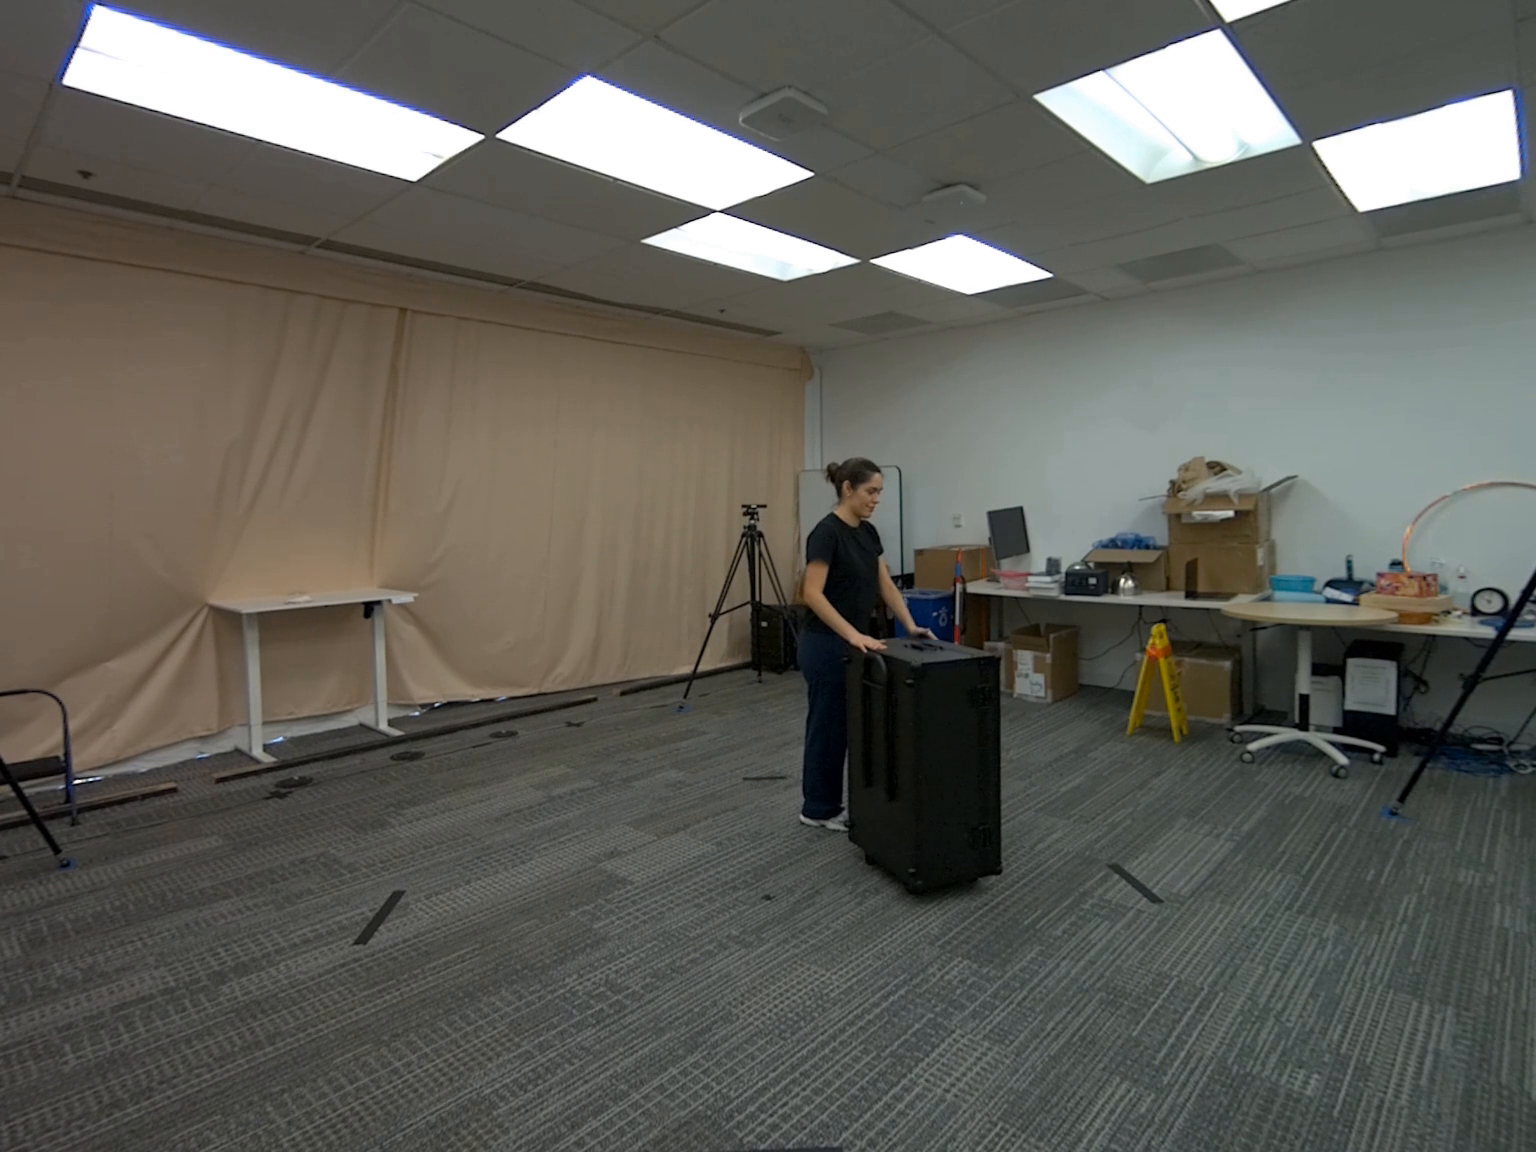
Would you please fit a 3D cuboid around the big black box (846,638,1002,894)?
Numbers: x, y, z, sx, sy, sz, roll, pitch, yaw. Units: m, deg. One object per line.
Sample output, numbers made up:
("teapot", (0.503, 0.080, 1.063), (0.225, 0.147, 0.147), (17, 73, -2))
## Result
("big black box", (0.572, 0.692, 3.123), (0.388, 0.860, 0.533), (-3, 3, -21))
